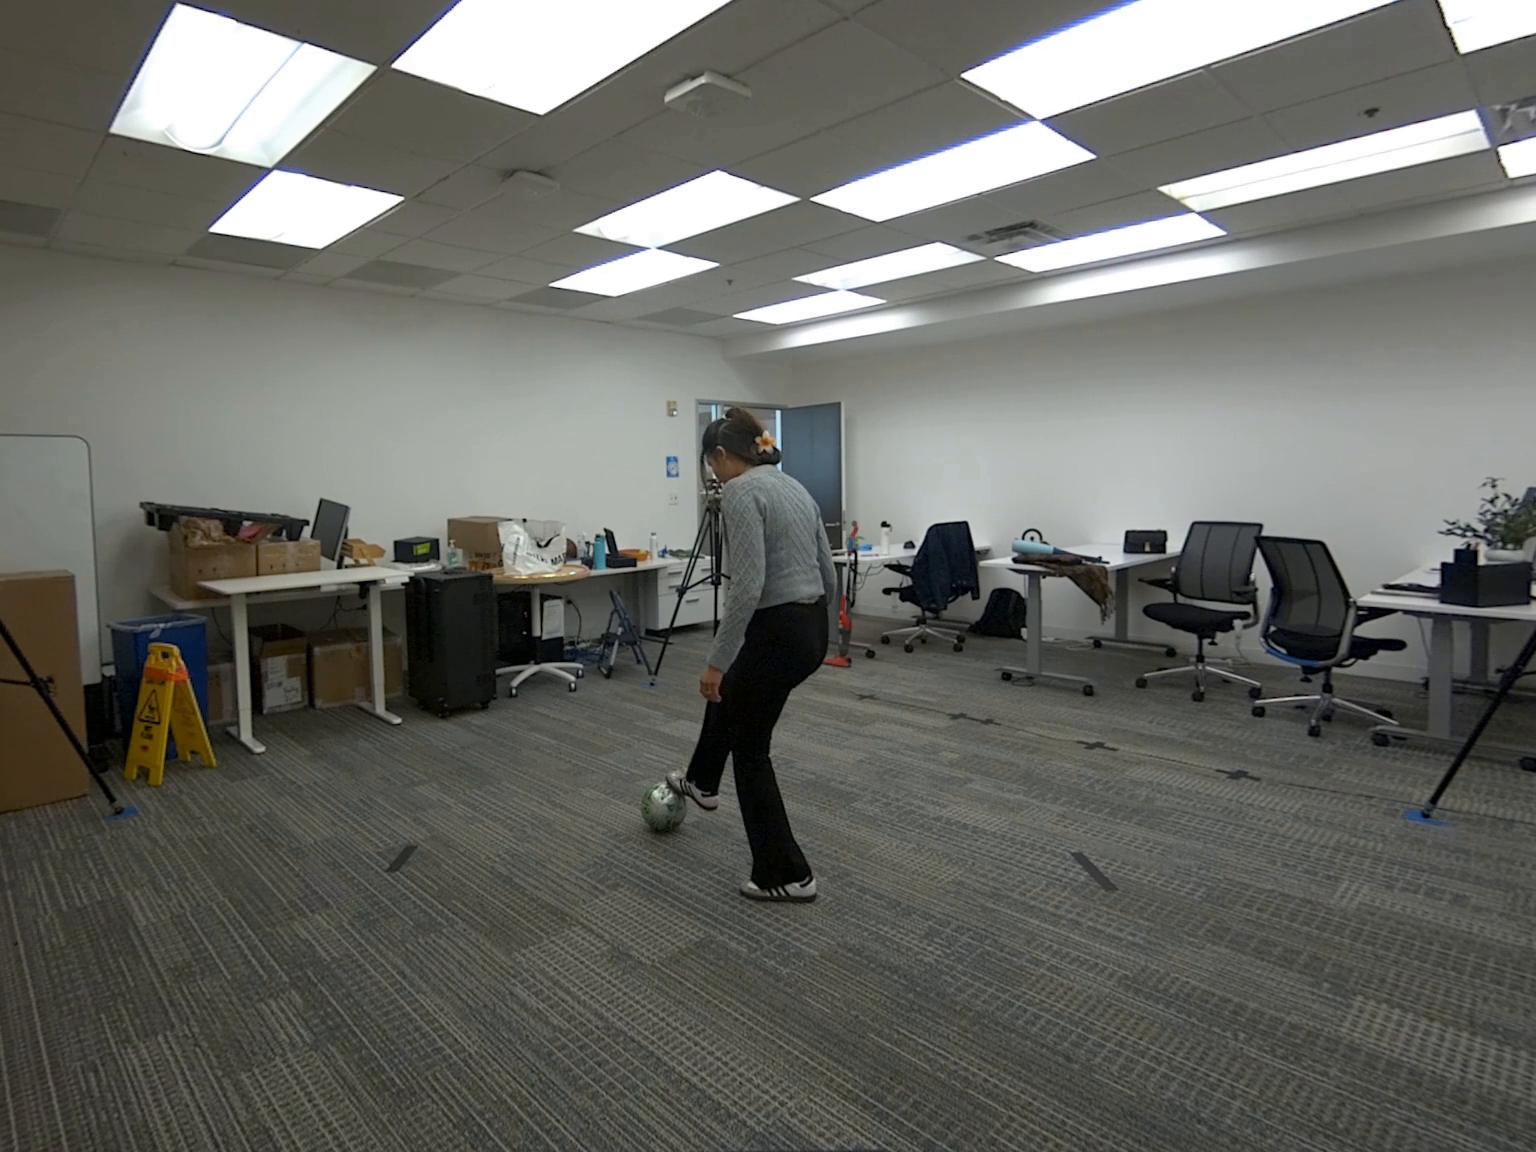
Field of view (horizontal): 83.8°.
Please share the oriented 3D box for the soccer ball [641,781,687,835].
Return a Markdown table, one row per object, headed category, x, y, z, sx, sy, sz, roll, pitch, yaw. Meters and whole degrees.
| category | x | y | z | sx | sy | sz | roll | pitch | yaw |
| --- | --- | --- | --- | --- | --- | --- | --- | --- | --- |
| soccer ball | -0.389 | 0.921 | 3.392 | 0.187 | 0.187 | 0.188 | -1 | 5 | -2 |
